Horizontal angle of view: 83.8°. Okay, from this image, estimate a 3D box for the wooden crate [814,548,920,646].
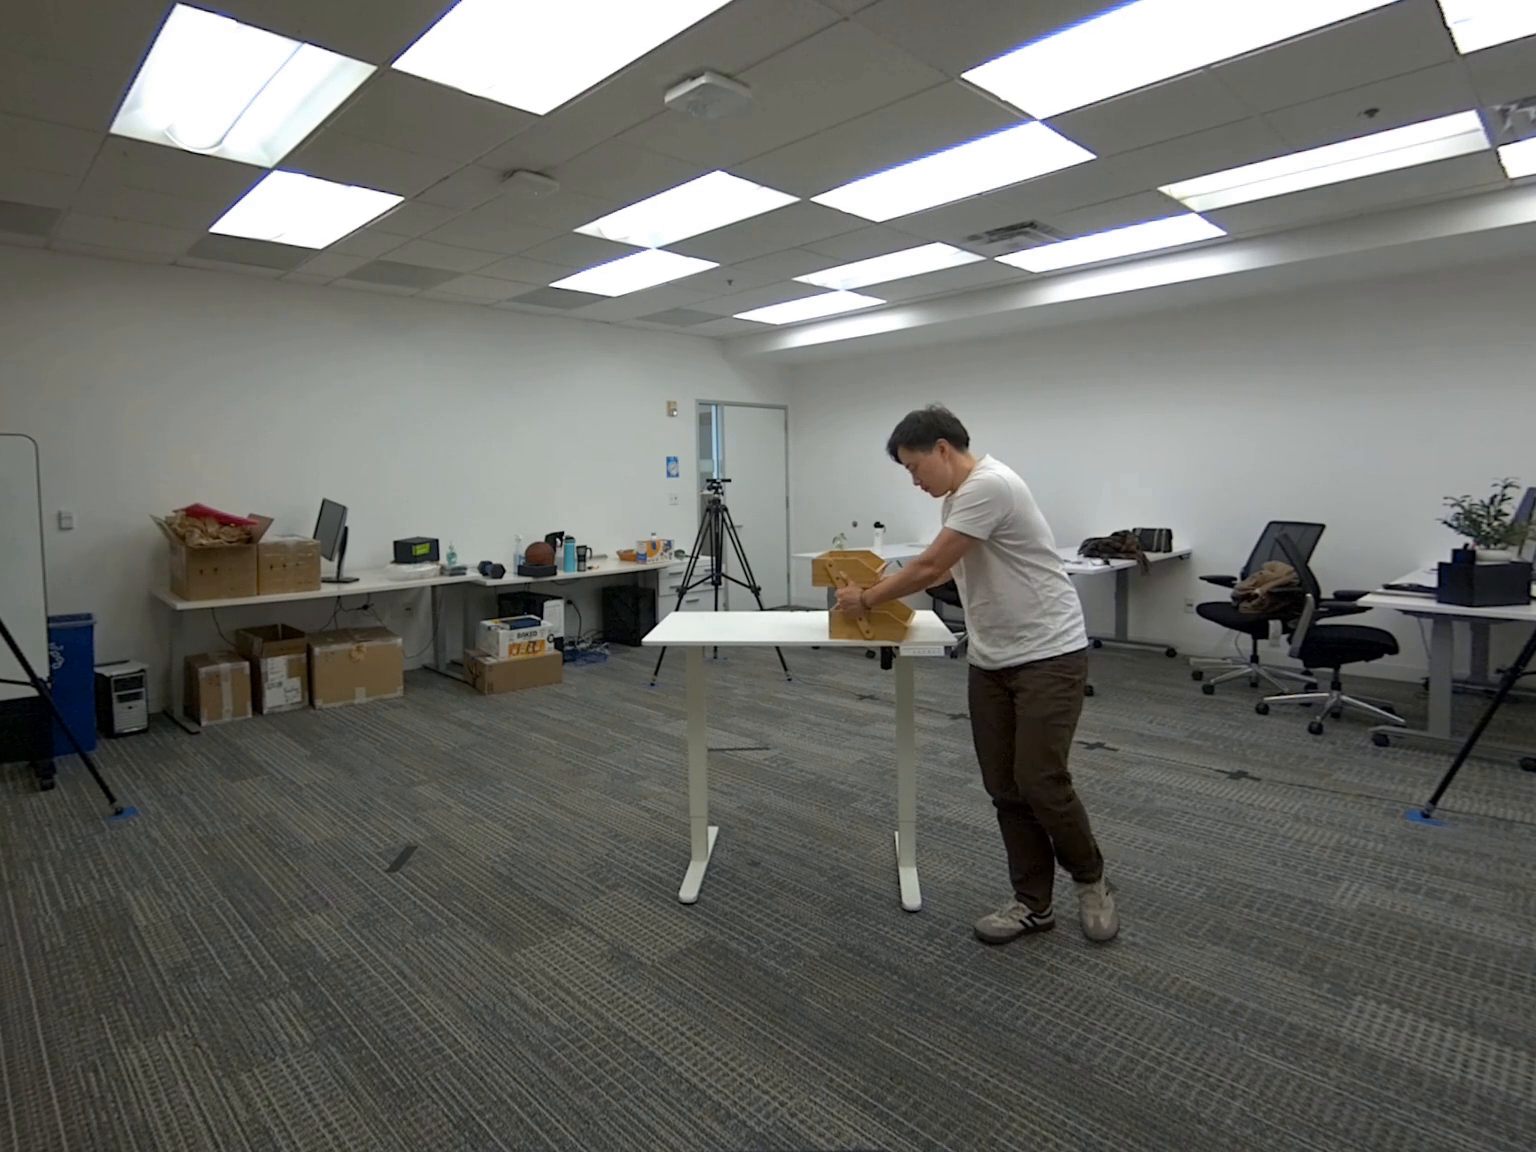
[{"bbox_3d":[0.333,0.058,2.838,0.307,0.272,0.321,0,6,15],"label":"wooden crate"}]
